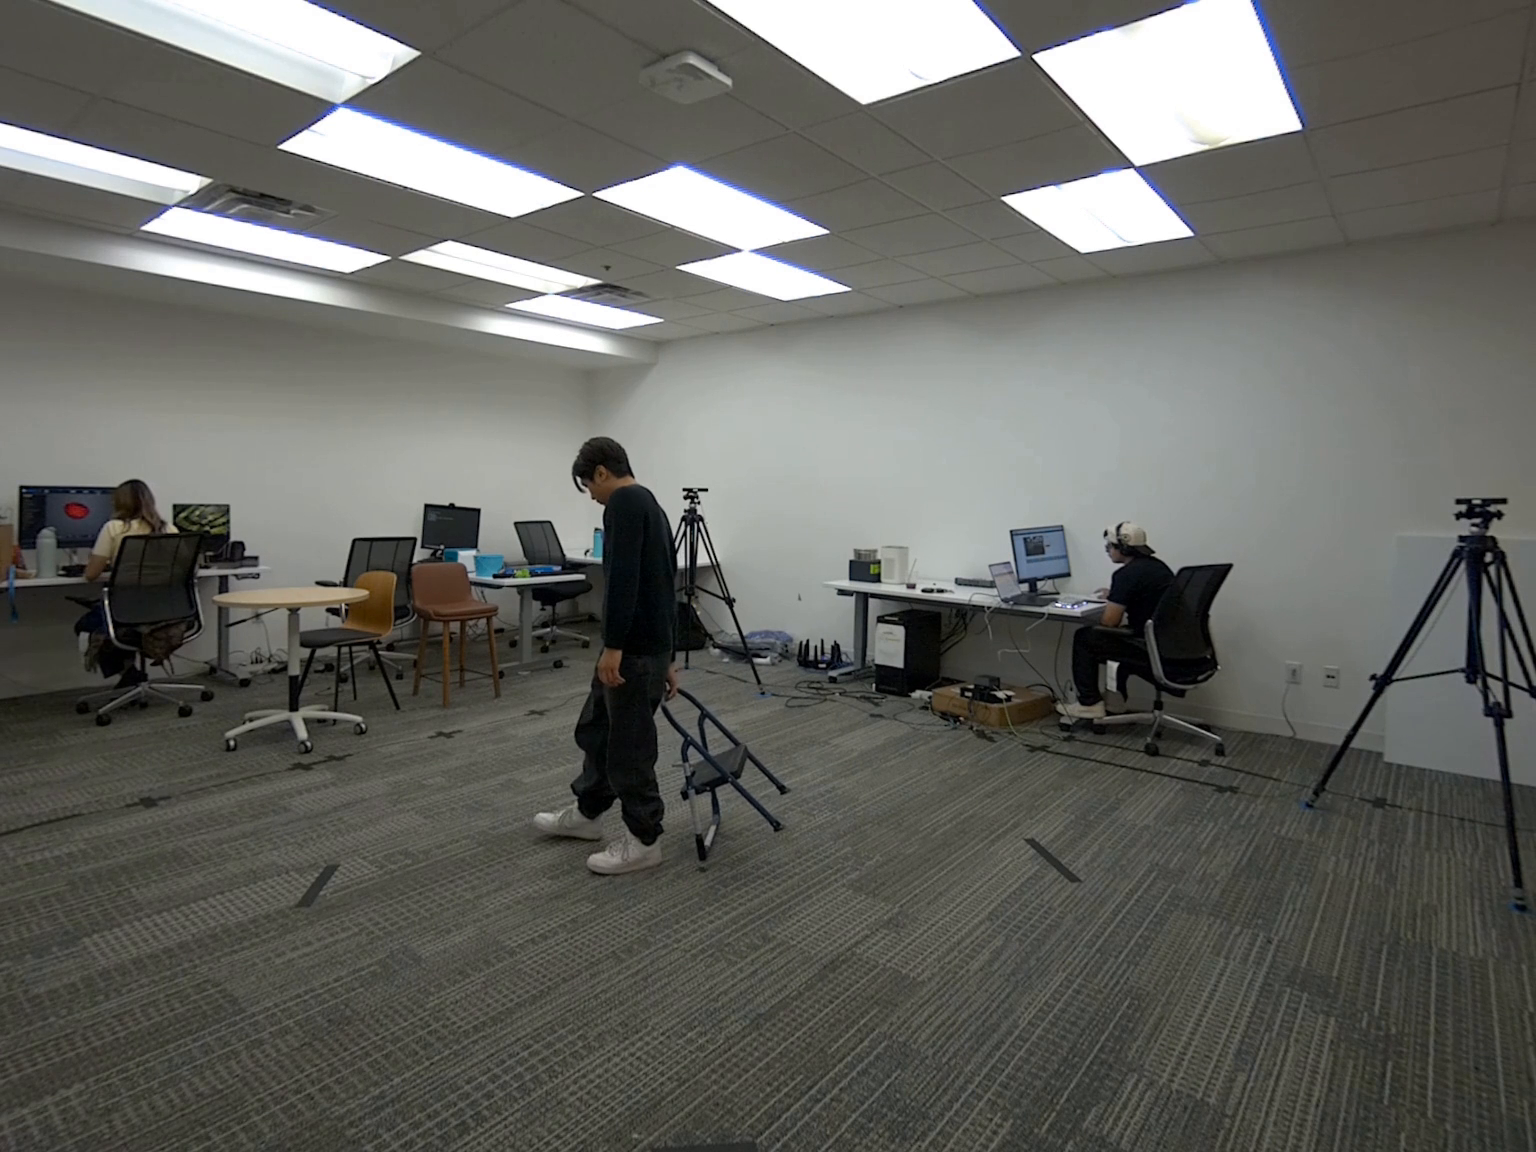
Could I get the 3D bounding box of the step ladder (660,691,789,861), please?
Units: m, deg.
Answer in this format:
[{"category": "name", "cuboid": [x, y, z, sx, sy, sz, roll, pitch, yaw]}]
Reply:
[{"category": "step ladder", "cuboid": [-0.222, 0.707, 3.367, 0.351, 0.607, 0.428, -26, 0, 7]}]
